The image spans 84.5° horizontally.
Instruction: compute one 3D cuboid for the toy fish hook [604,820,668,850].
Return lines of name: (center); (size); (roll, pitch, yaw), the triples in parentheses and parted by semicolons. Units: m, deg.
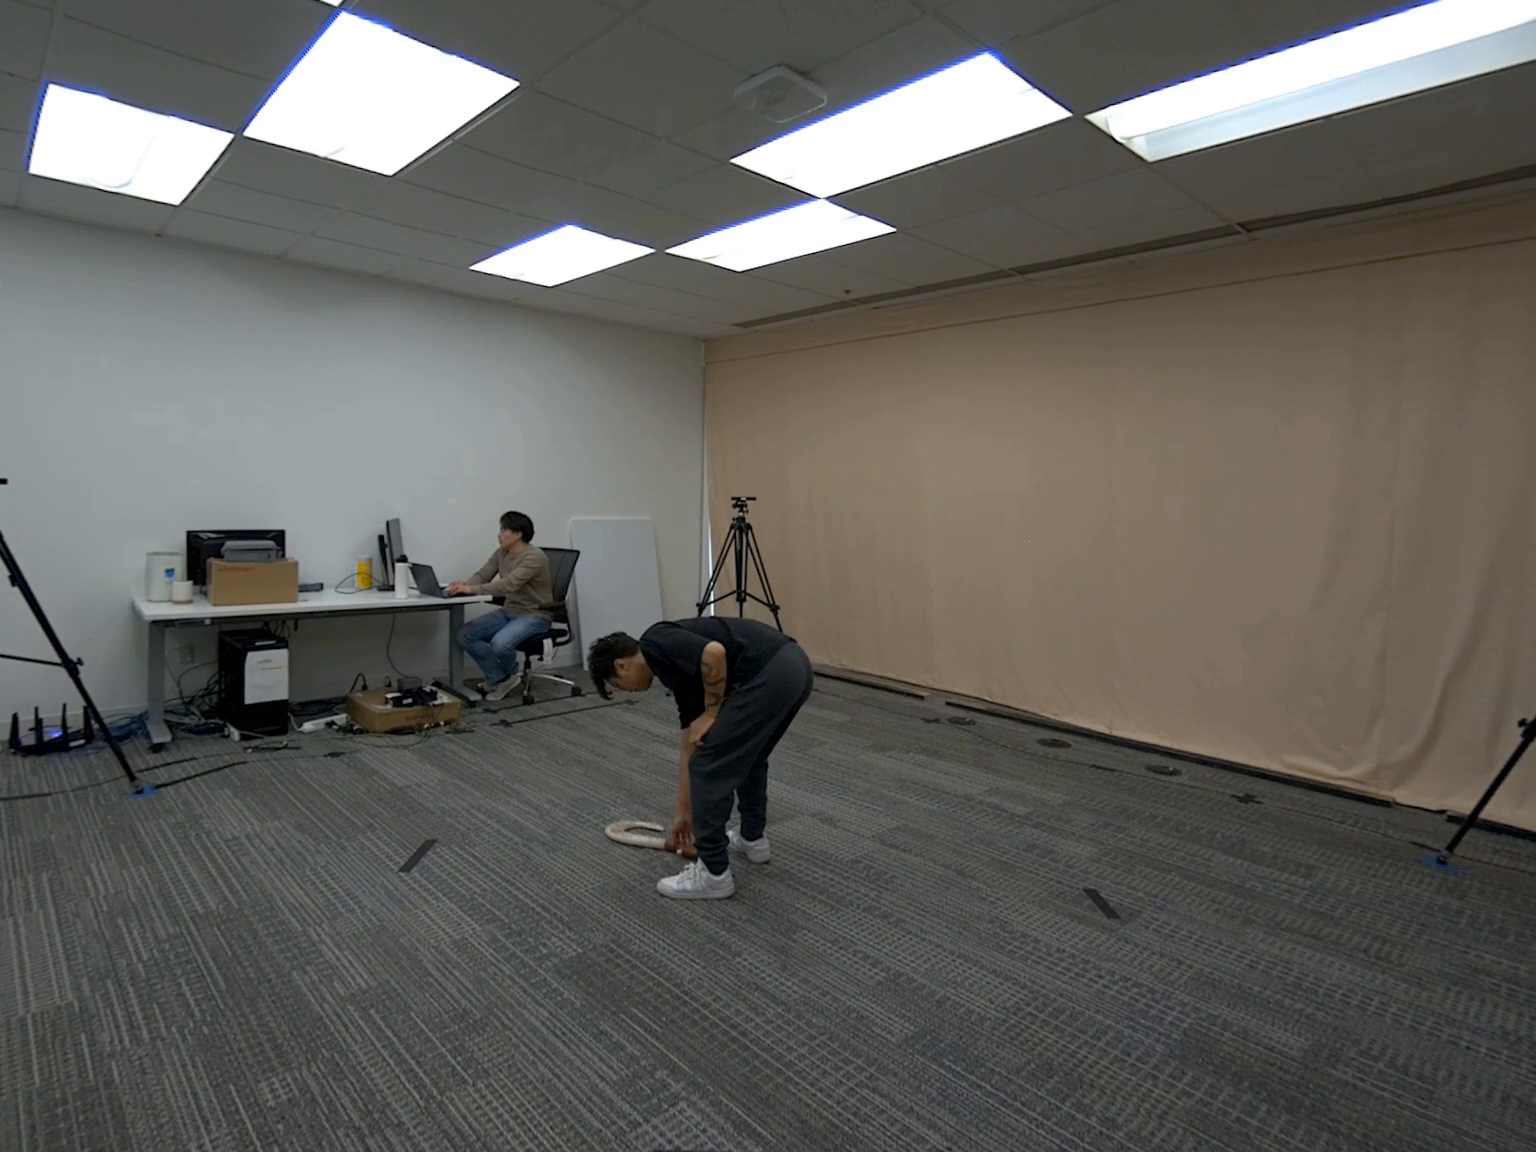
toy fish hook: (-0.427, 1.051, 3.383); (0.518, 0.048, 0.220); (5, 7, 31)
